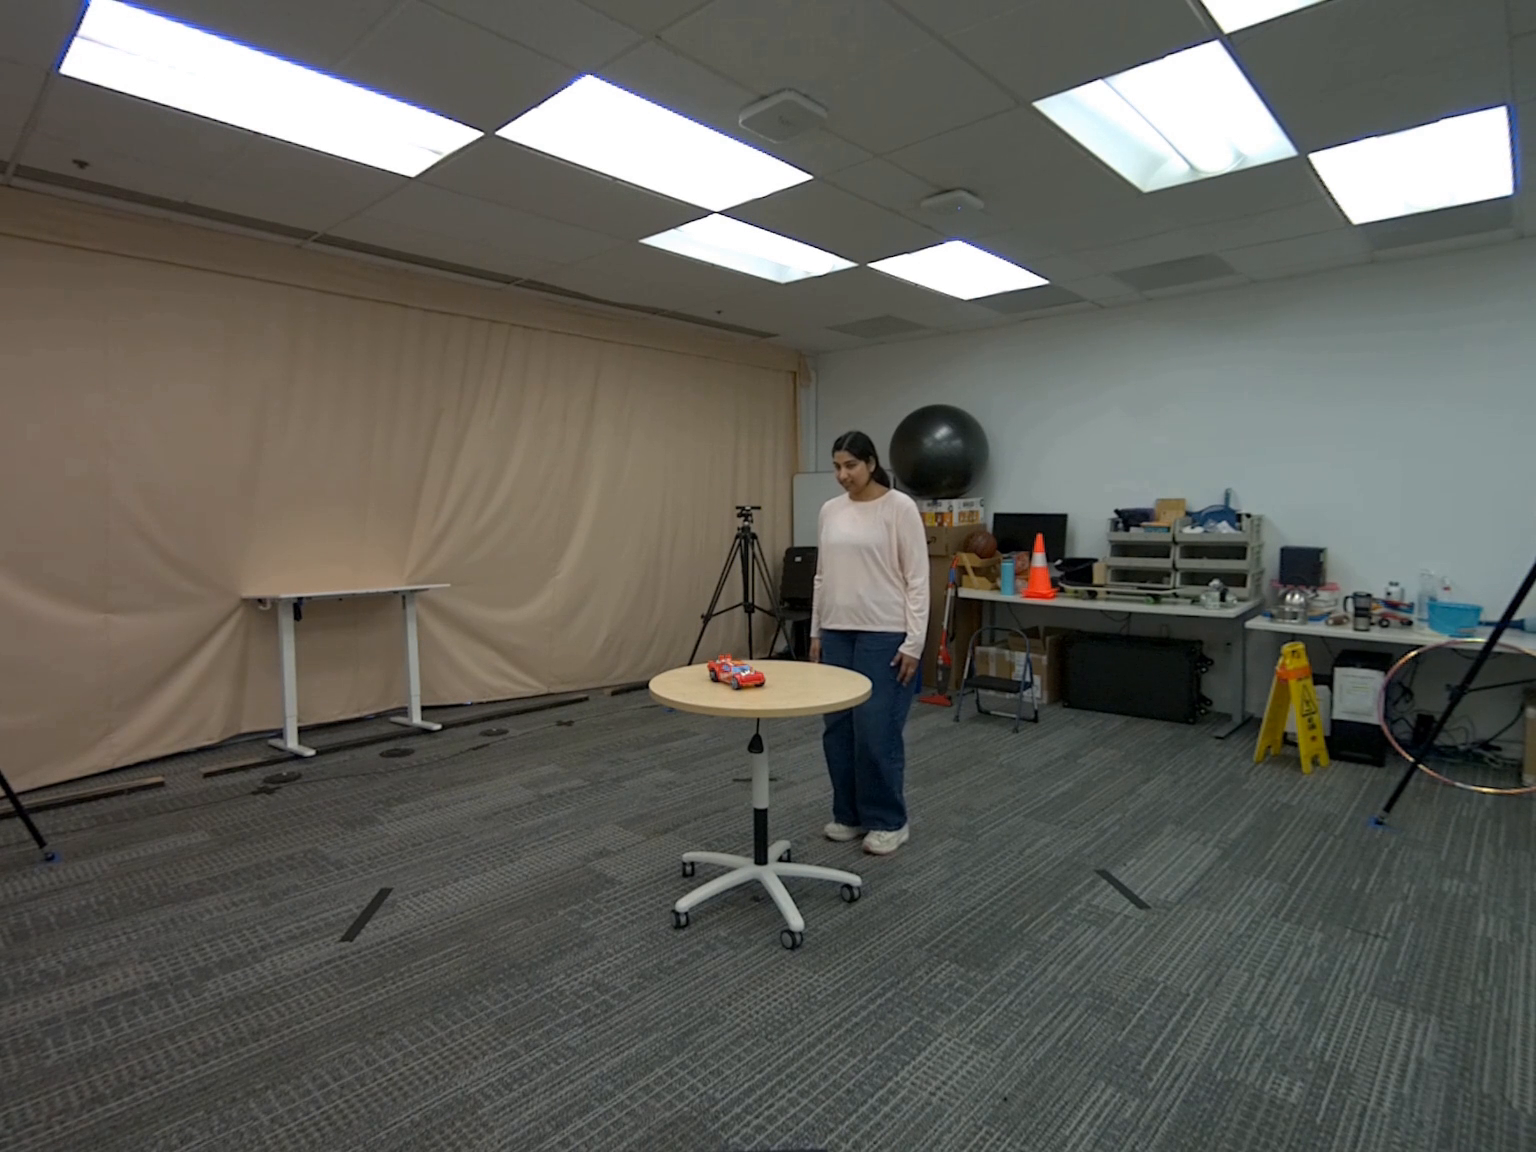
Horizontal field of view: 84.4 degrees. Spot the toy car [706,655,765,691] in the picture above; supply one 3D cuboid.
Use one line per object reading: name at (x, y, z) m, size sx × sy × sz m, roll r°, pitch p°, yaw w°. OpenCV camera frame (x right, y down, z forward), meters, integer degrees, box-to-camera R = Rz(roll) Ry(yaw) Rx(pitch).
toy car at (-0.113, 0.337, 2.901) m, size 0.127 × 0.082 × 0.263 m, roll -3°, pitch 17°, yaw -30°
